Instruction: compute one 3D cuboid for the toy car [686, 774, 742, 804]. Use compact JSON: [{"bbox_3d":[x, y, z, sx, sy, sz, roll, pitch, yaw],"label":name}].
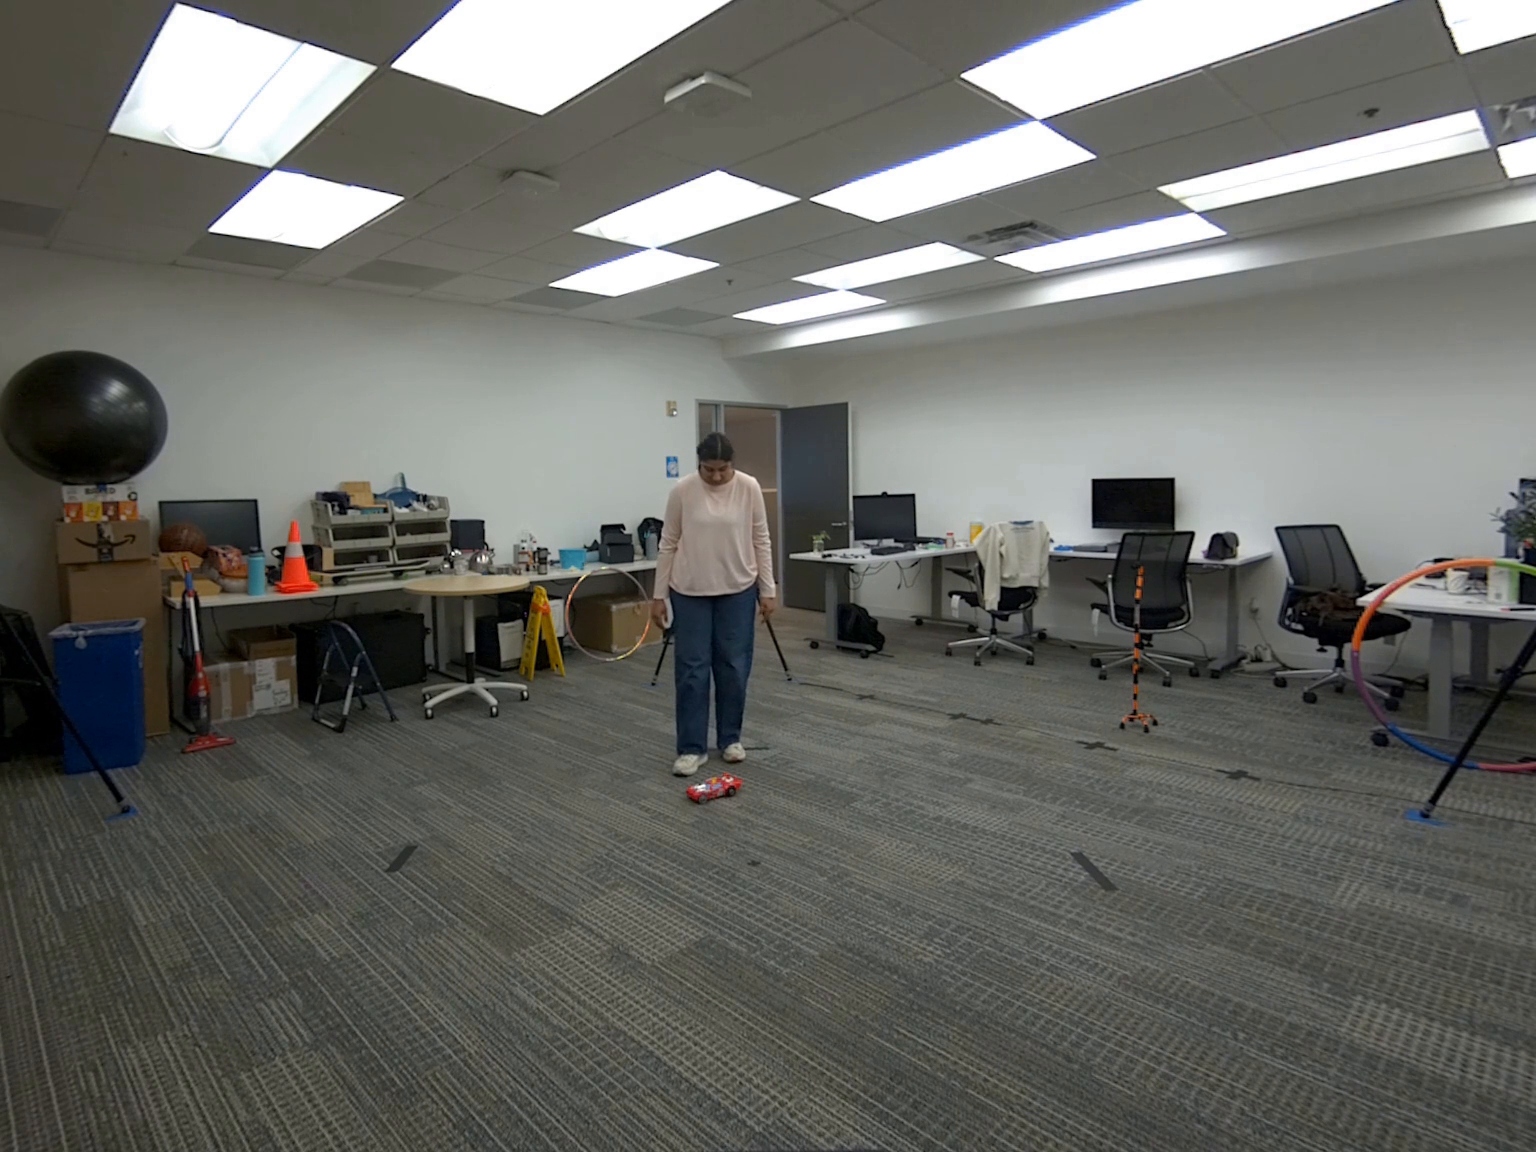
[{"bbox_3d":[-0.238,0.945,3.782,0.250,0.082,0.134,-18,13,-30],"label":"toy car"}]
